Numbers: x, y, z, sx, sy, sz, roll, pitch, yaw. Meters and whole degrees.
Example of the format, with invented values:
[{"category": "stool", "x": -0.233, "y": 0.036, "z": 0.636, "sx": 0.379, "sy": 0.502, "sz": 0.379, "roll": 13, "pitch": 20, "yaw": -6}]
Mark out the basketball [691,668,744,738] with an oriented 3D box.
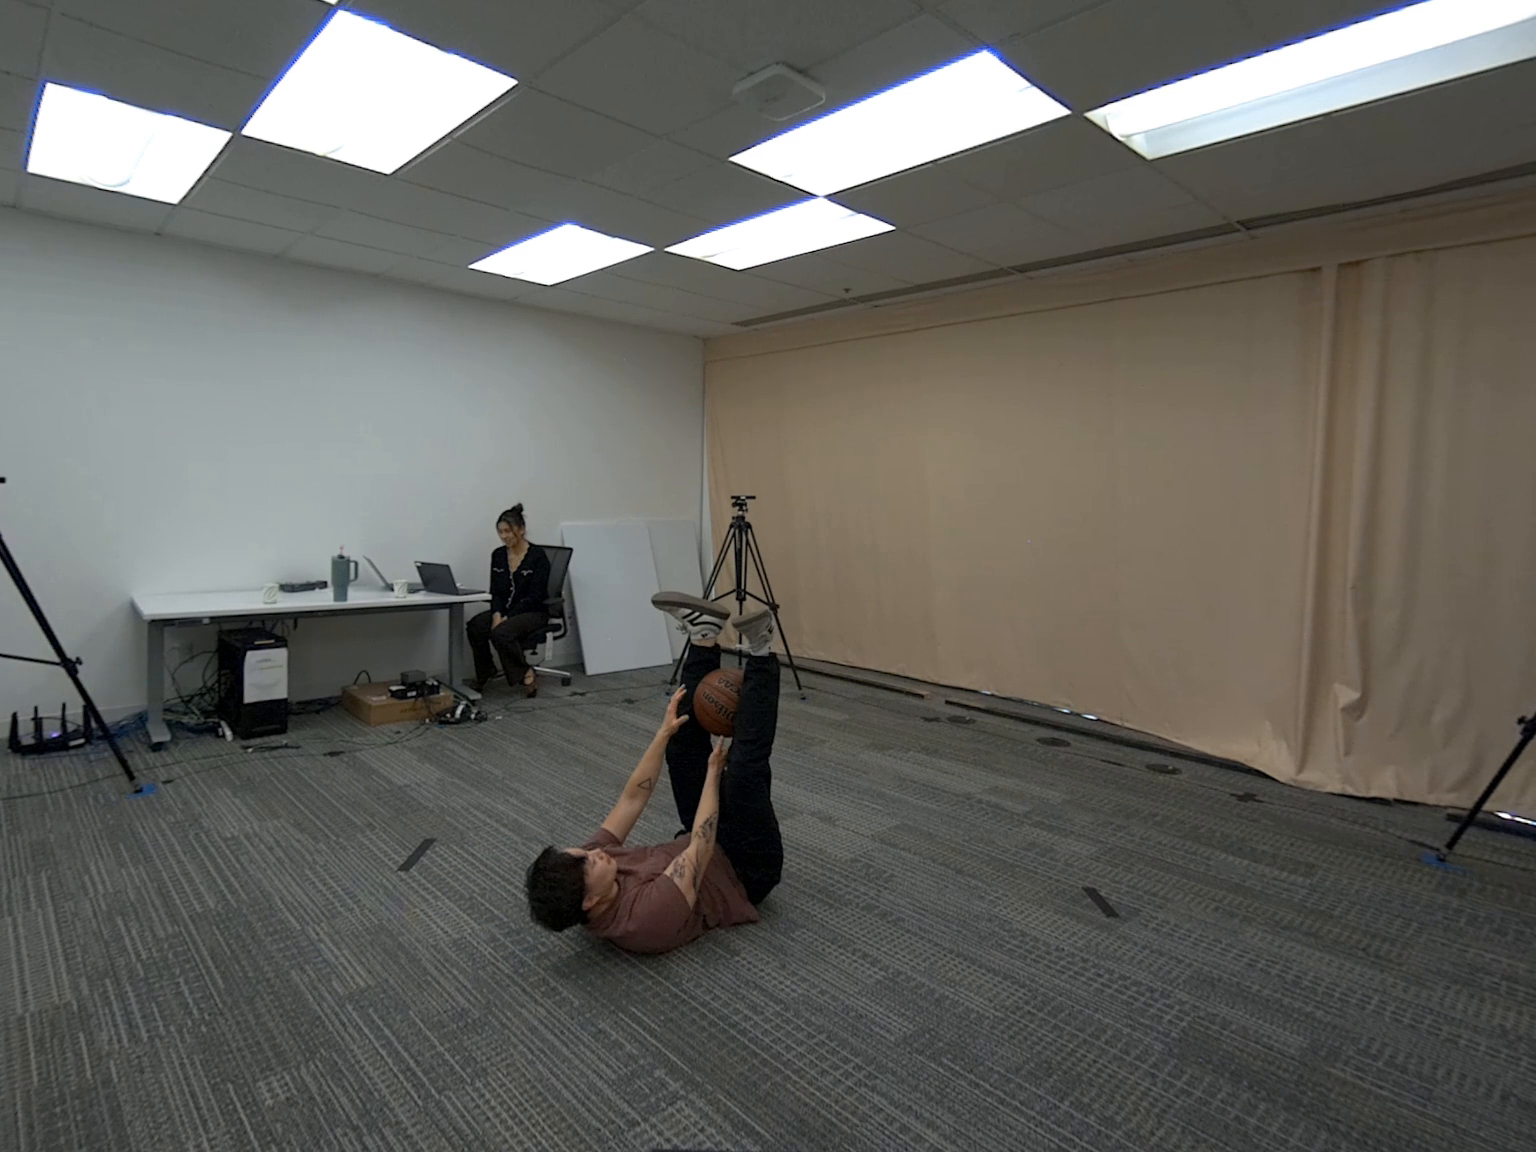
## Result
[{"category": "basketball", "x": -0.146, "y": 0.438, "z": 2.889, "sx": 0.236, "sy": 0.235, "sz": 0.237, "roll": 2, "pitch": 4, "yaw": -2}]
